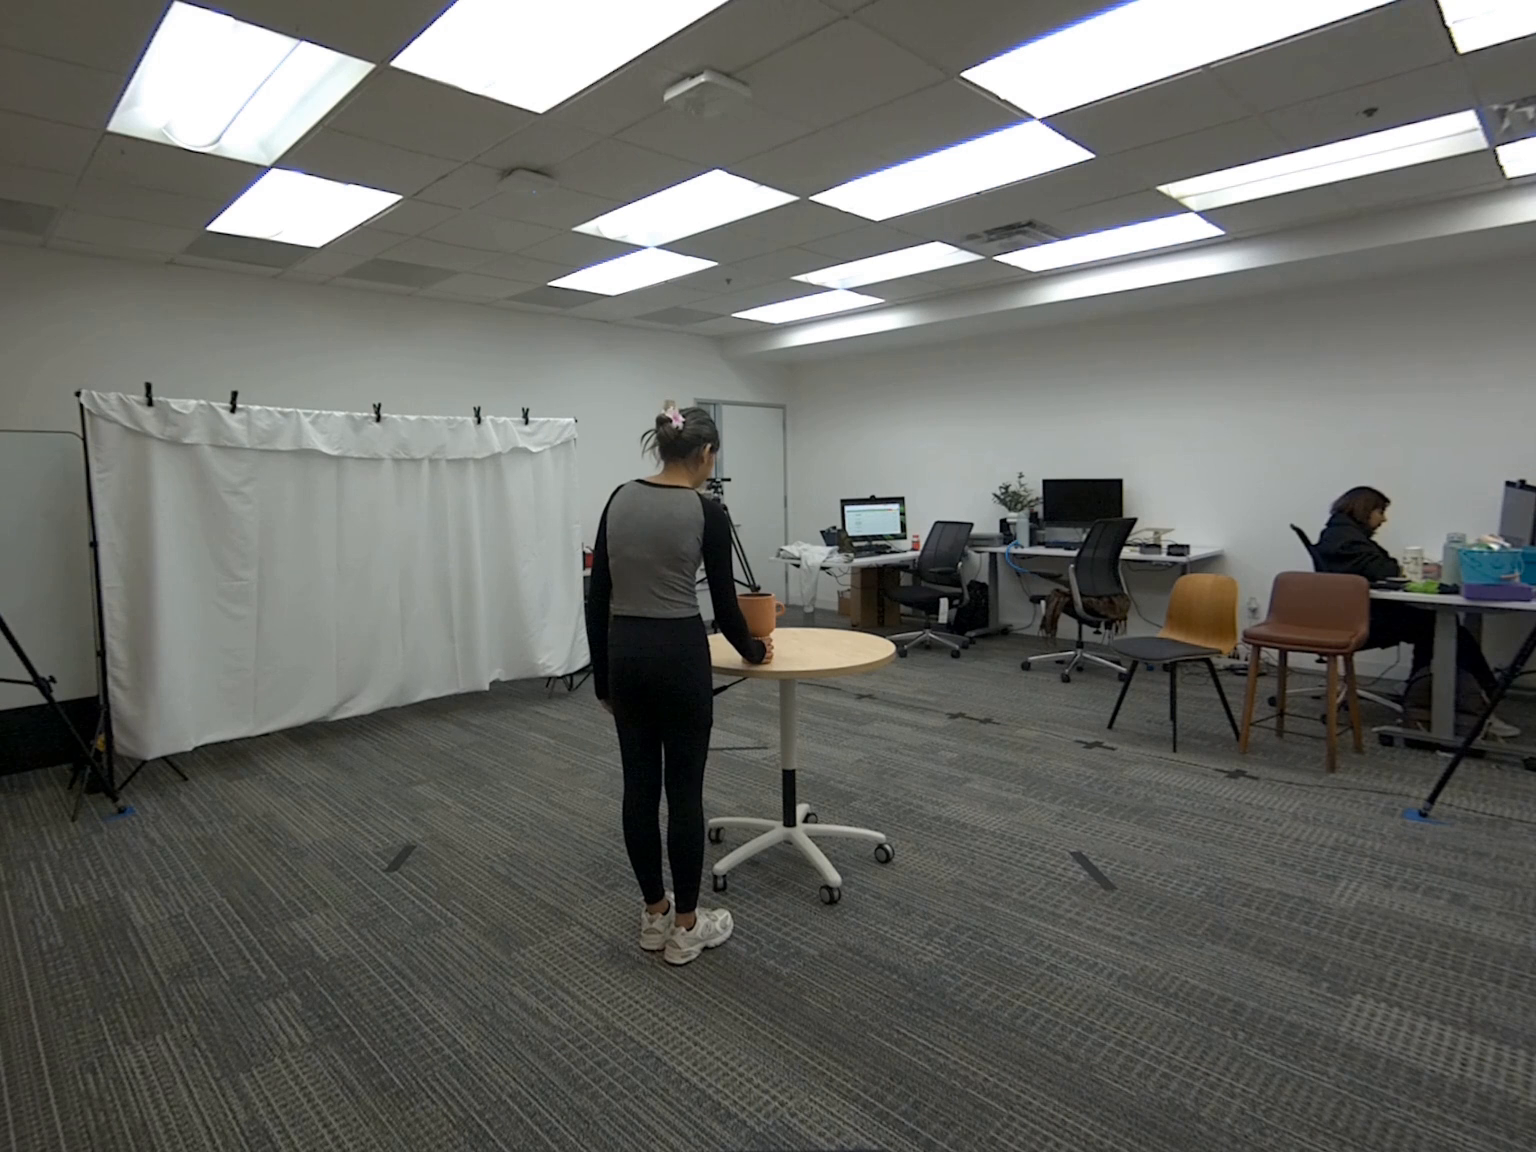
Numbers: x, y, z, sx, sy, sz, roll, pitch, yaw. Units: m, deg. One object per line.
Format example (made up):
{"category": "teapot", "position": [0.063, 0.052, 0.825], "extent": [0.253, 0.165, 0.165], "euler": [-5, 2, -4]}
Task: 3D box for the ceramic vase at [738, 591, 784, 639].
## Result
{"category": "ceramic vase", "position": [-0.034, 0.171, 2.811], "extent": [0.163, 0.219, 0.131], "euler": [3, 5, 29]}
